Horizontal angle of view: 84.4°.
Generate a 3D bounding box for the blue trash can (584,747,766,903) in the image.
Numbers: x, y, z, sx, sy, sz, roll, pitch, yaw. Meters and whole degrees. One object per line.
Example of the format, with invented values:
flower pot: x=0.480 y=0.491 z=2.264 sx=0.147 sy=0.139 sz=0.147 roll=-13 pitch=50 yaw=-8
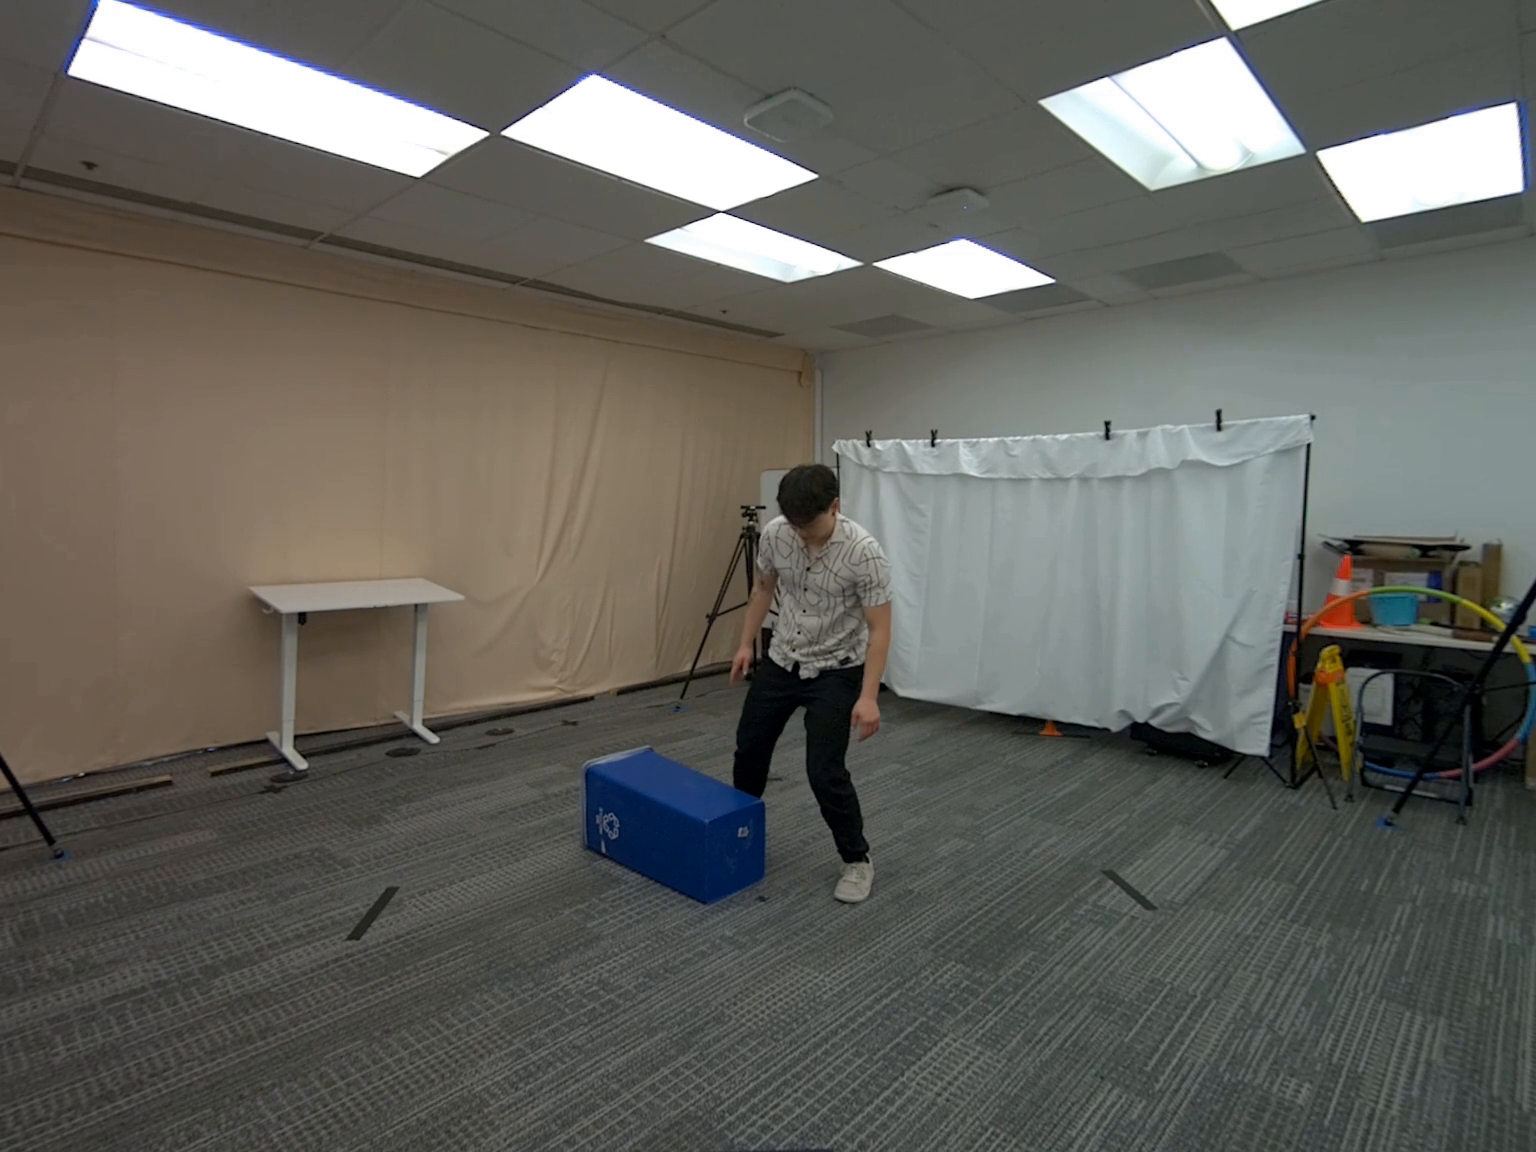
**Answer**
blue trash can: x=-0.371 y=0.949 z=3.270 sx=0.362 sy=0.377 sz=0.738 roll=-3 pitch=7 yaw=-44
